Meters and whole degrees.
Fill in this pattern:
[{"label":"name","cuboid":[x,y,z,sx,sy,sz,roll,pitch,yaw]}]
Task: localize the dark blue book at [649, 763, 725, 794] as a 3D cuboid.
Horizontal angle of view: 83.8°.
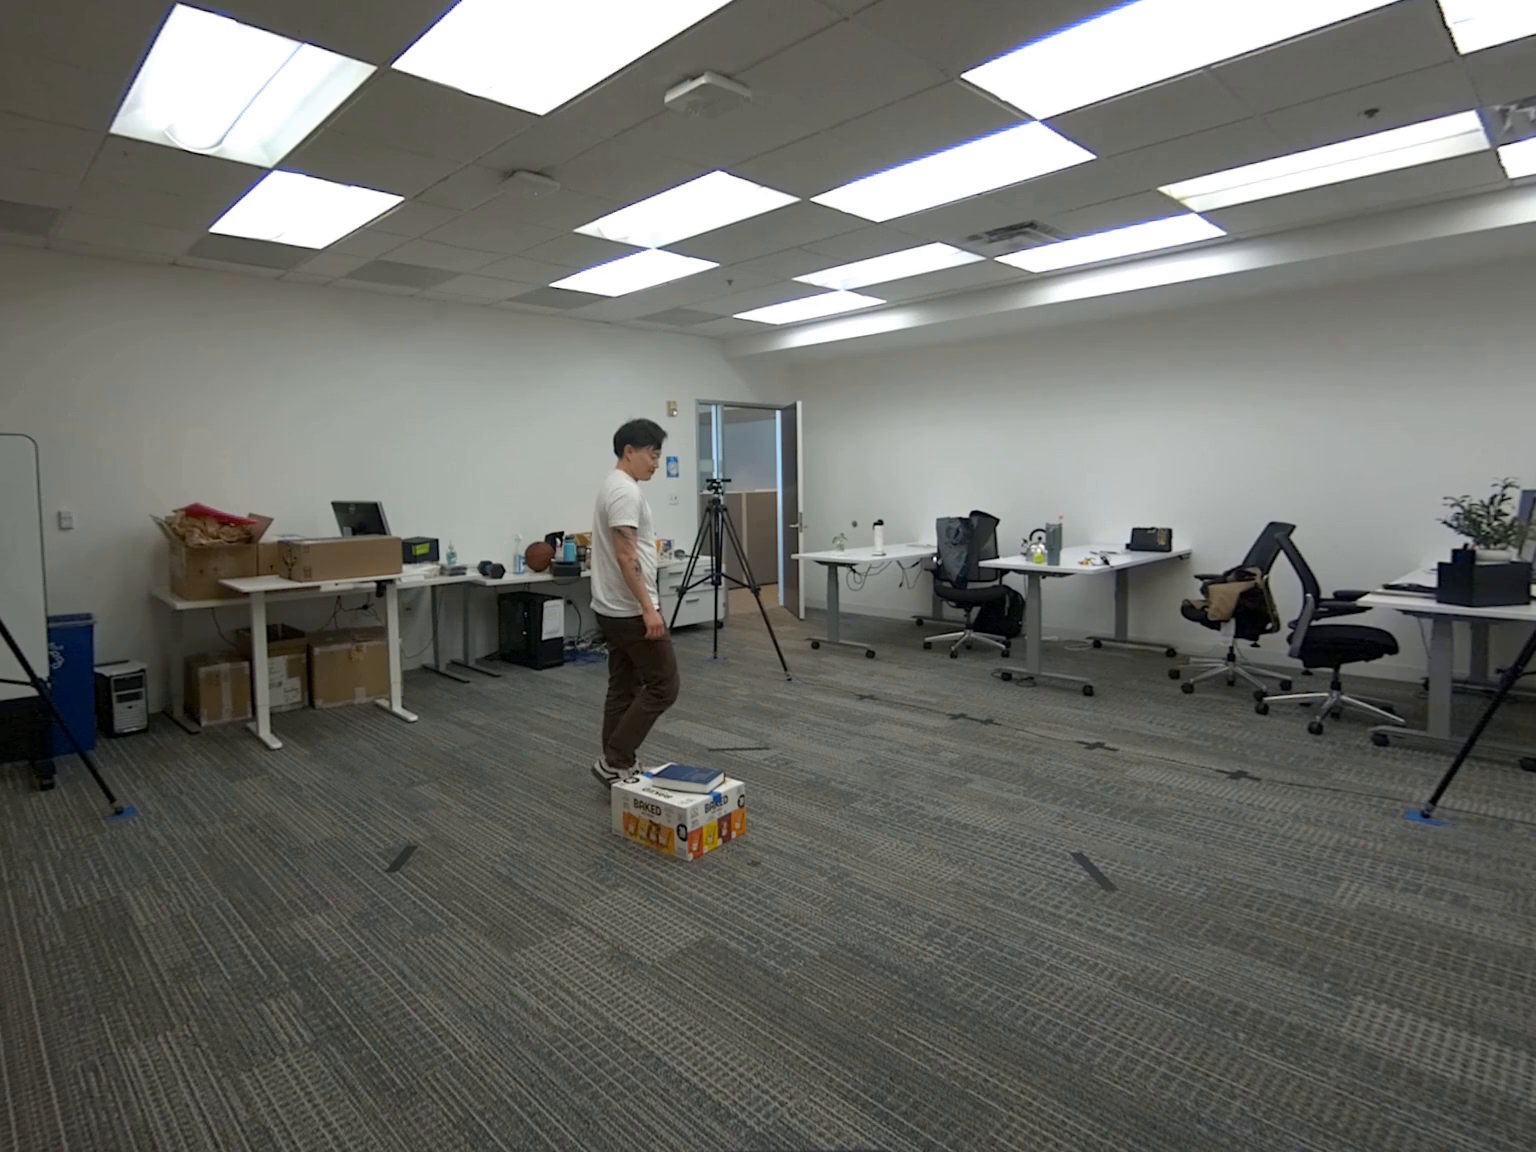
[{"label":"dark blue book","cuboid":[-0.317,0.802,3.386,0.251,0.045,0.160,1,7,25]}]
